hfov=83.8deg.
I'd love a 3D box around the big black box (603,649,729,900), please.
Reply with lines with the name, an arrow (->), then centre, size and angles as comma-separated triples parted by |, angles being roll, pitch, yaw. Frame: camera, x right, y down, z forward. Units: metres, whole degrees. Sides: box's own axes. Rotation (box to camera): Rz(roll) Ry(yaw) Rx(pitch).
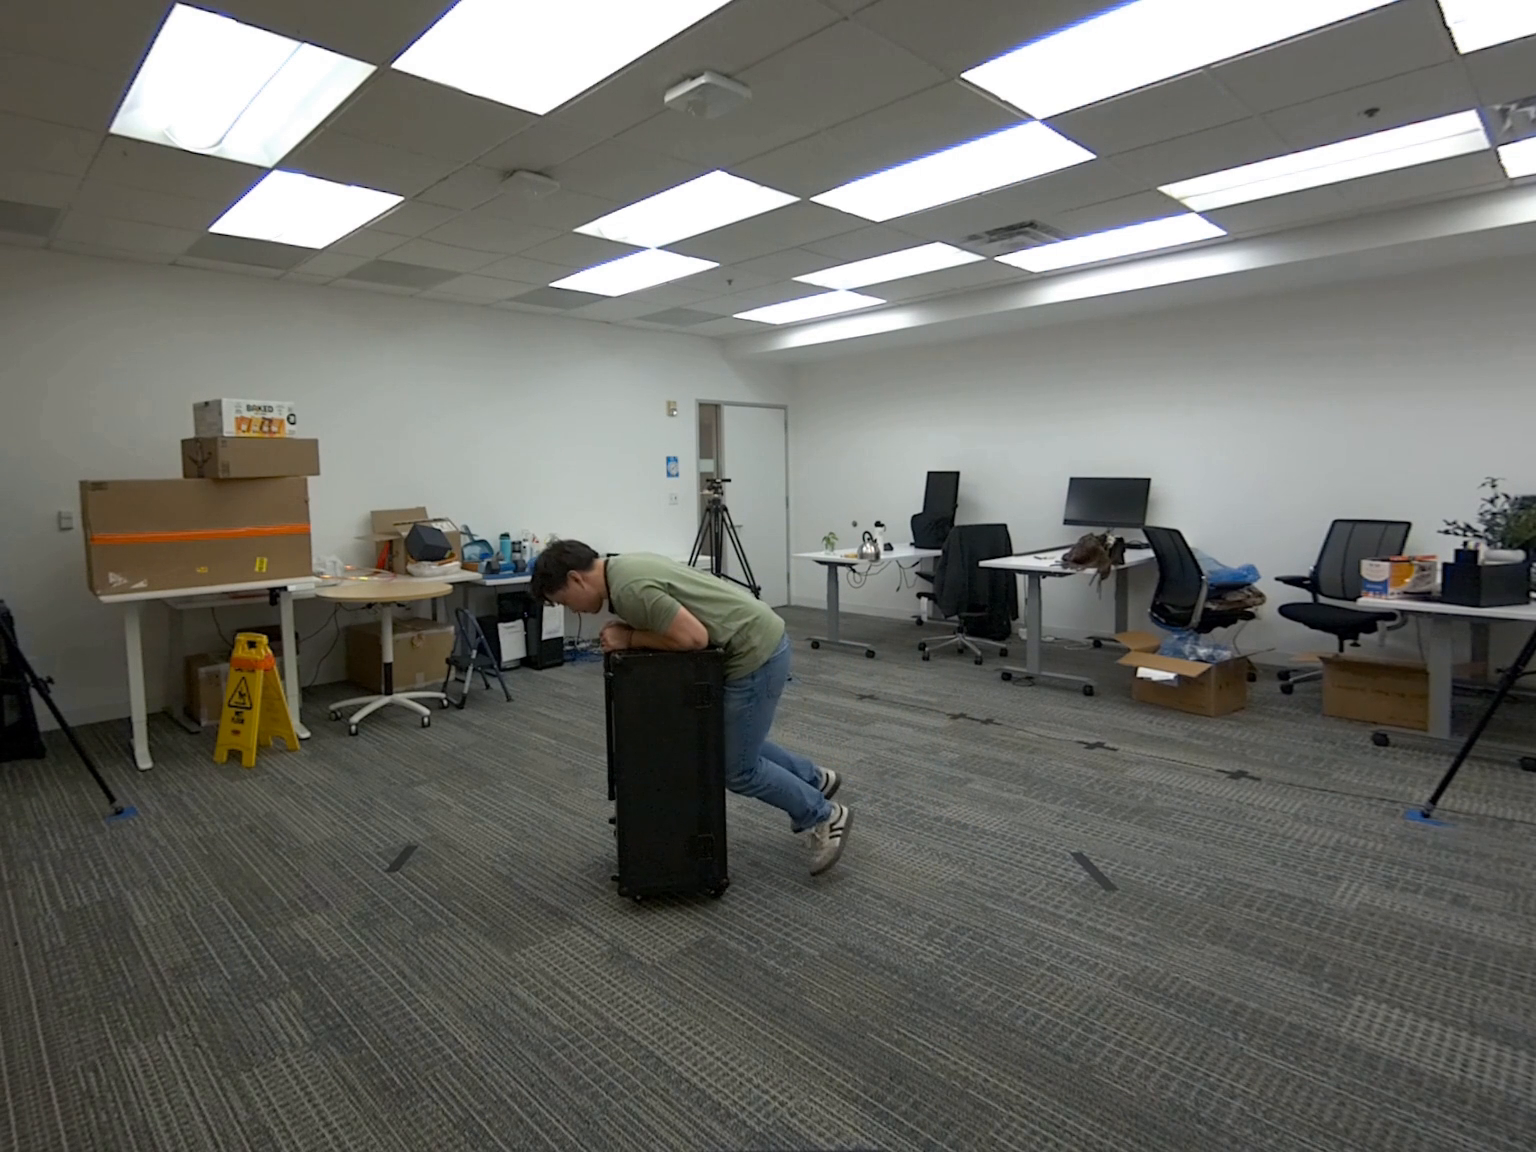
big black box -> -0.360, 0.646, 2.953 | 0.393, 0.858, 0.528 | -3, 5, -10
